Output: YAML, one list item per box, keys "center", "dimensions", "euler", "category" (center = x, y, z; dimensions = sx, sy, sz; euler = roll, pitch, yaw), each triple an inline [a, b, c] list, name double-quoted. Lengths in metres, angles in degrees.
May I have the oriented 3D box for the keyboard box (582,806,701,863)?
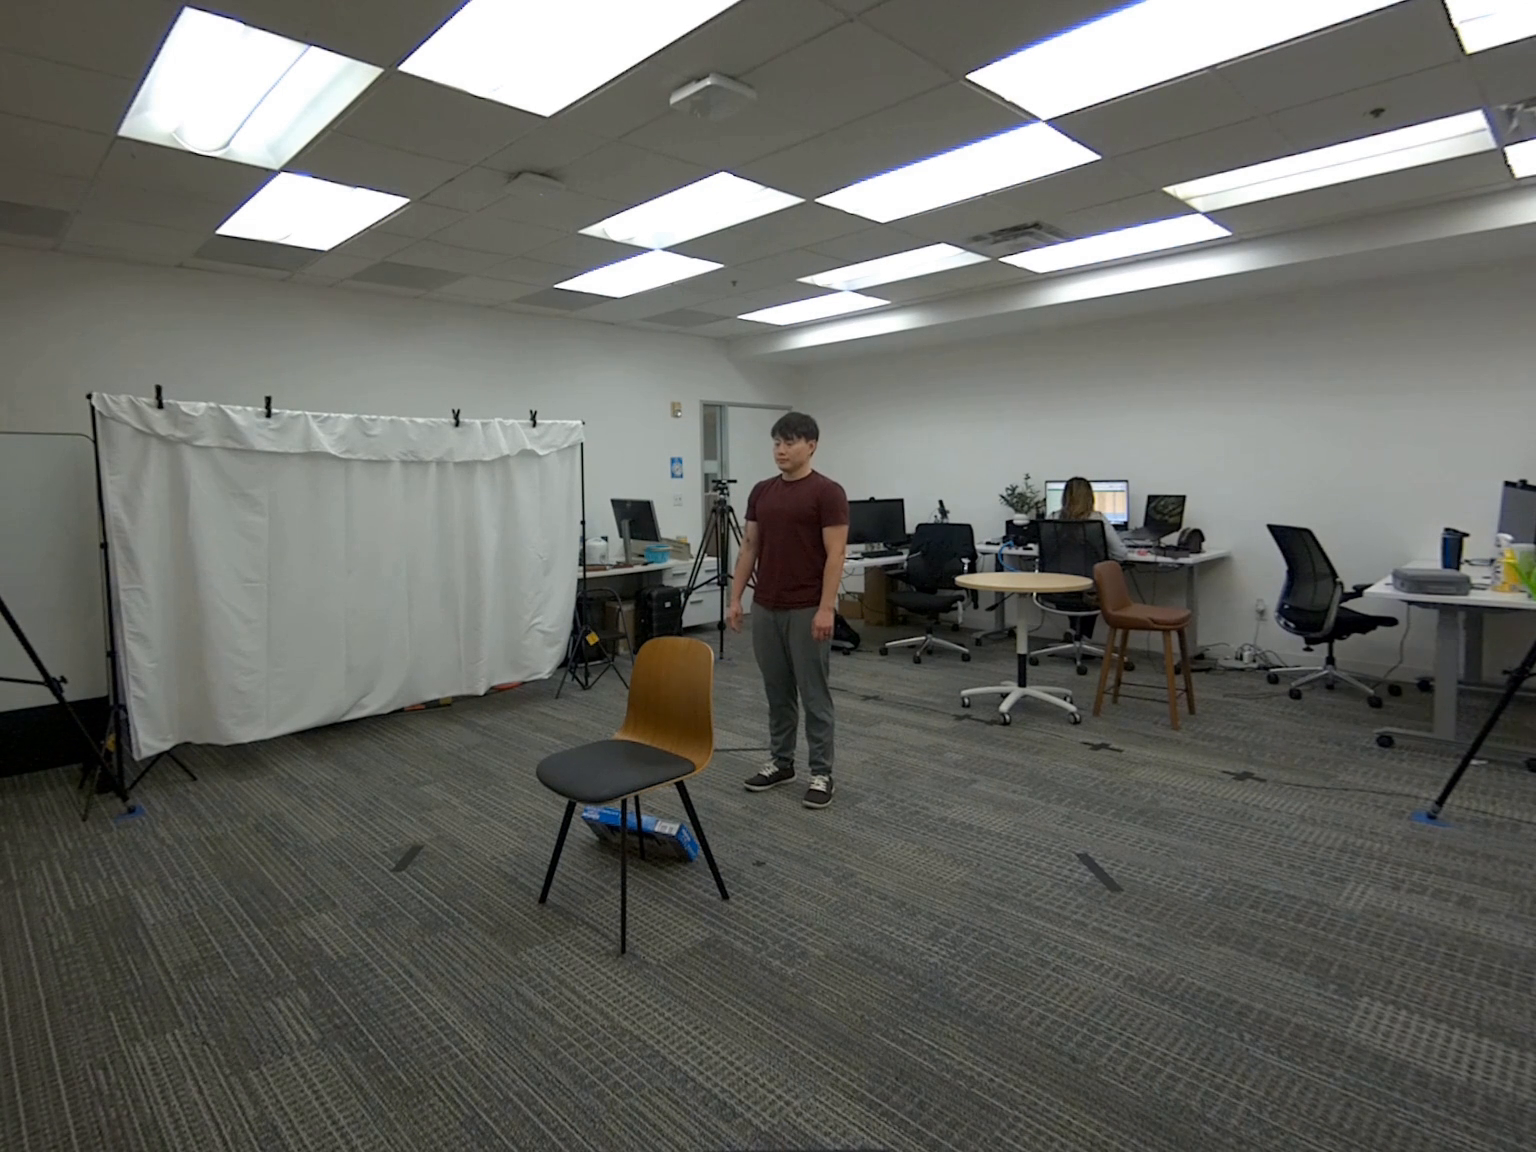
- center: [-0.482, 0.961, 3.211]
  dimensions: [0.448, 0.170, 0.060]
  euler: [2, 43, 28]
  category: "keyboard box"
